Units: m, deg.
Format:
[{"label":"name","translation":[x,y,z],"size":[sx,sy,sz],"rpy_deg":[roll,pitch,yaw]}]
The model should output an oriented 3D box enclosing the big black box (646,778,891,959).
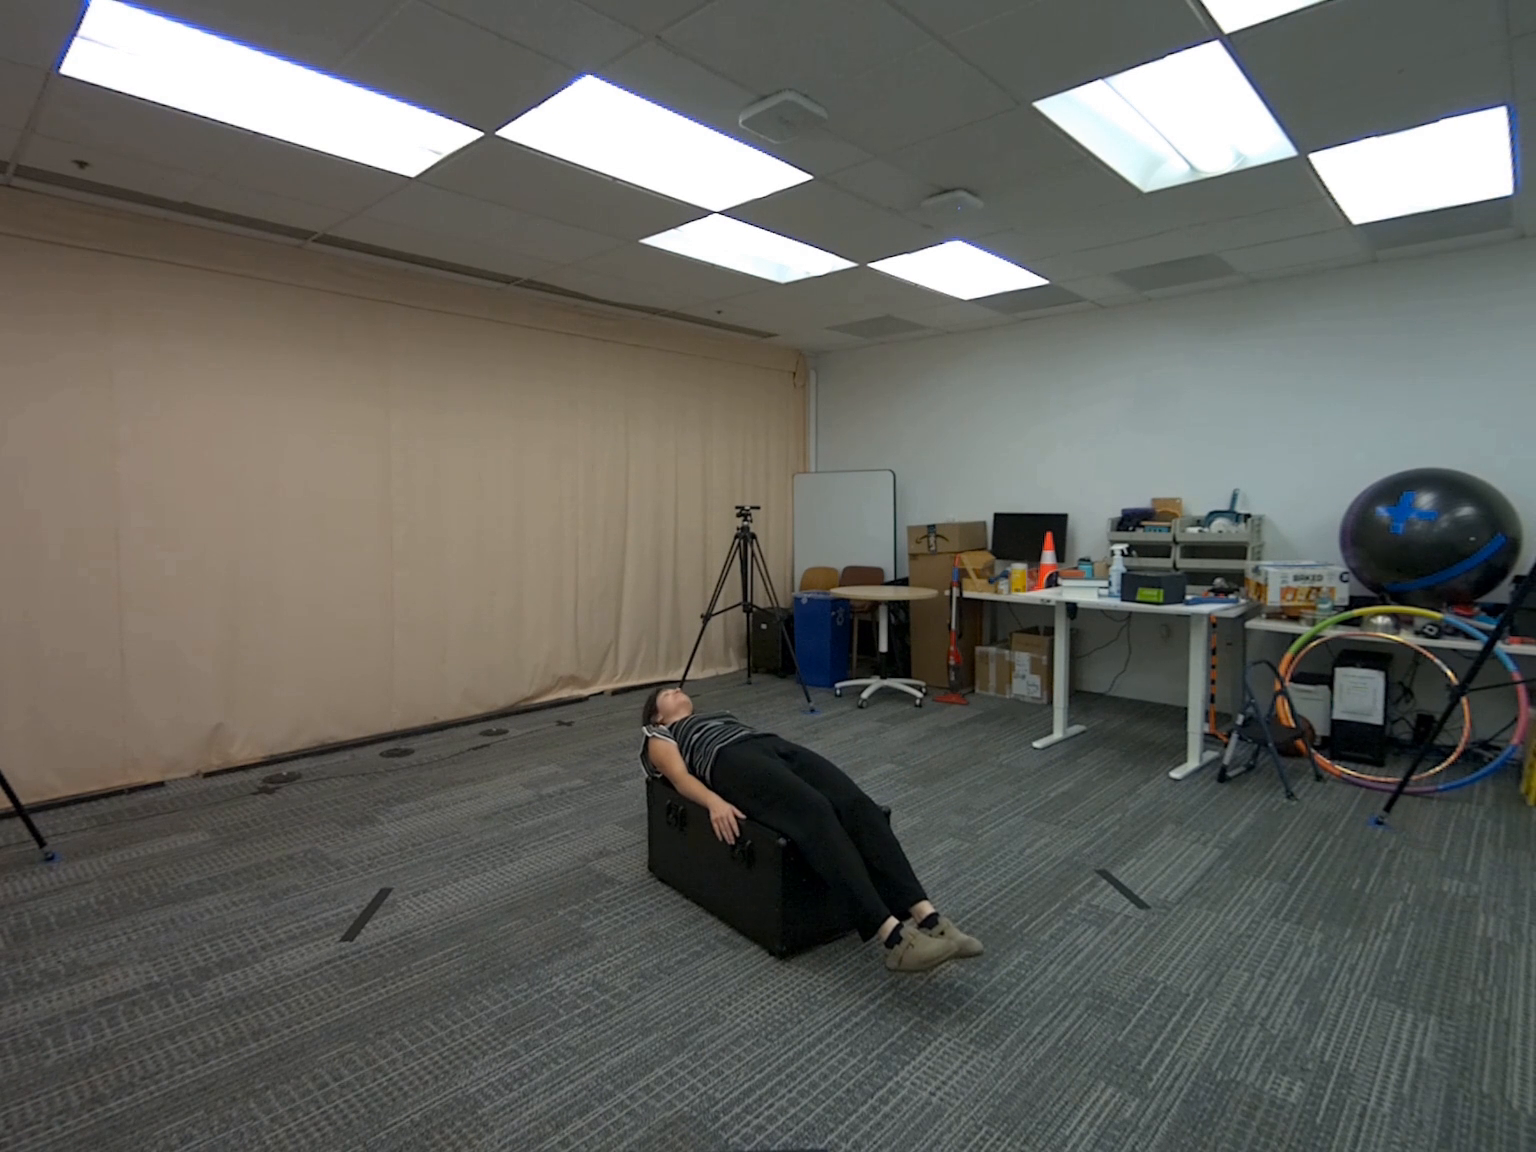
[{"label":"big black box","translation":[-0.043,0.959,3.026],"size":[0.506,0.395,0.890],"rpy_deg":[-5,7,-38]}]
